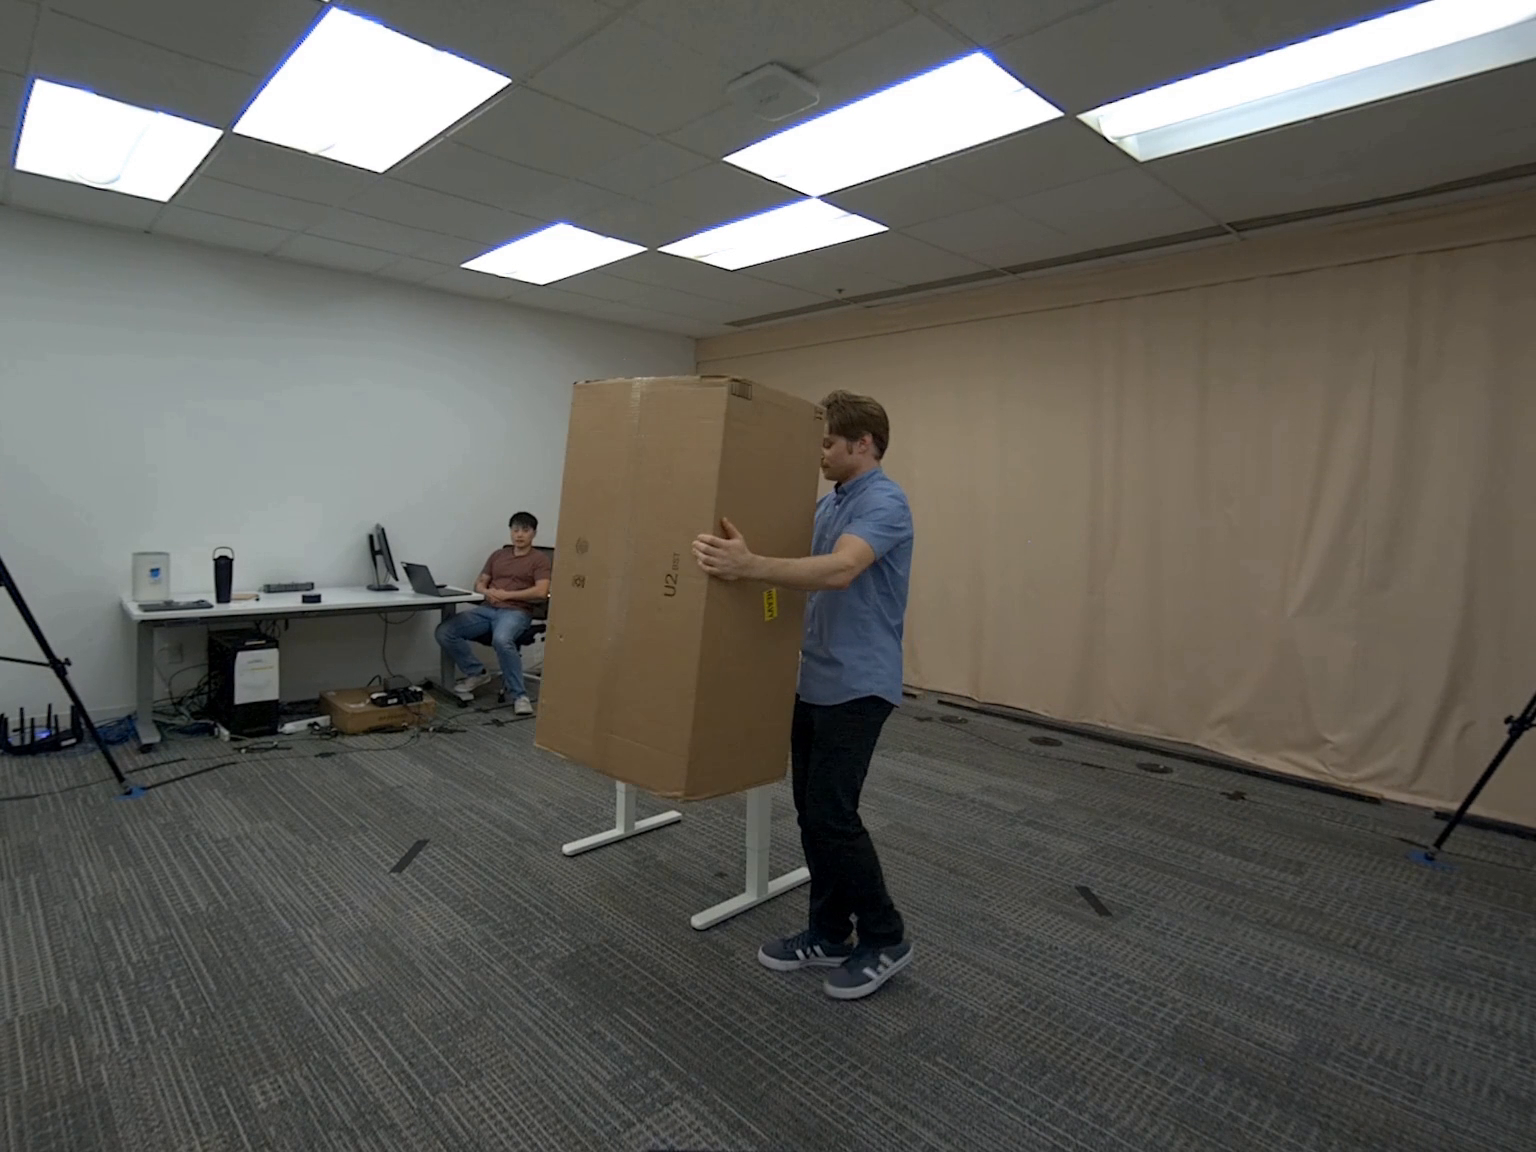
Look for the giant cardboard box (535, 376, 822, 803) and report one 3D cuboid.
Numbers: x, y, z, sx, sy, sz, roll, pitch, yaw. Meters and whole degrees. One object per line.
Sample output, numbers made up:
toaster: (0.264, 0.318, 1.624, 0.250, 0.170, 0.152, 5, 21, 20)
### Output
giant cardboard box: (-0.250, 0.009, 2.308, 0.592, 1.026, 0.415, 6, 0, 39)
